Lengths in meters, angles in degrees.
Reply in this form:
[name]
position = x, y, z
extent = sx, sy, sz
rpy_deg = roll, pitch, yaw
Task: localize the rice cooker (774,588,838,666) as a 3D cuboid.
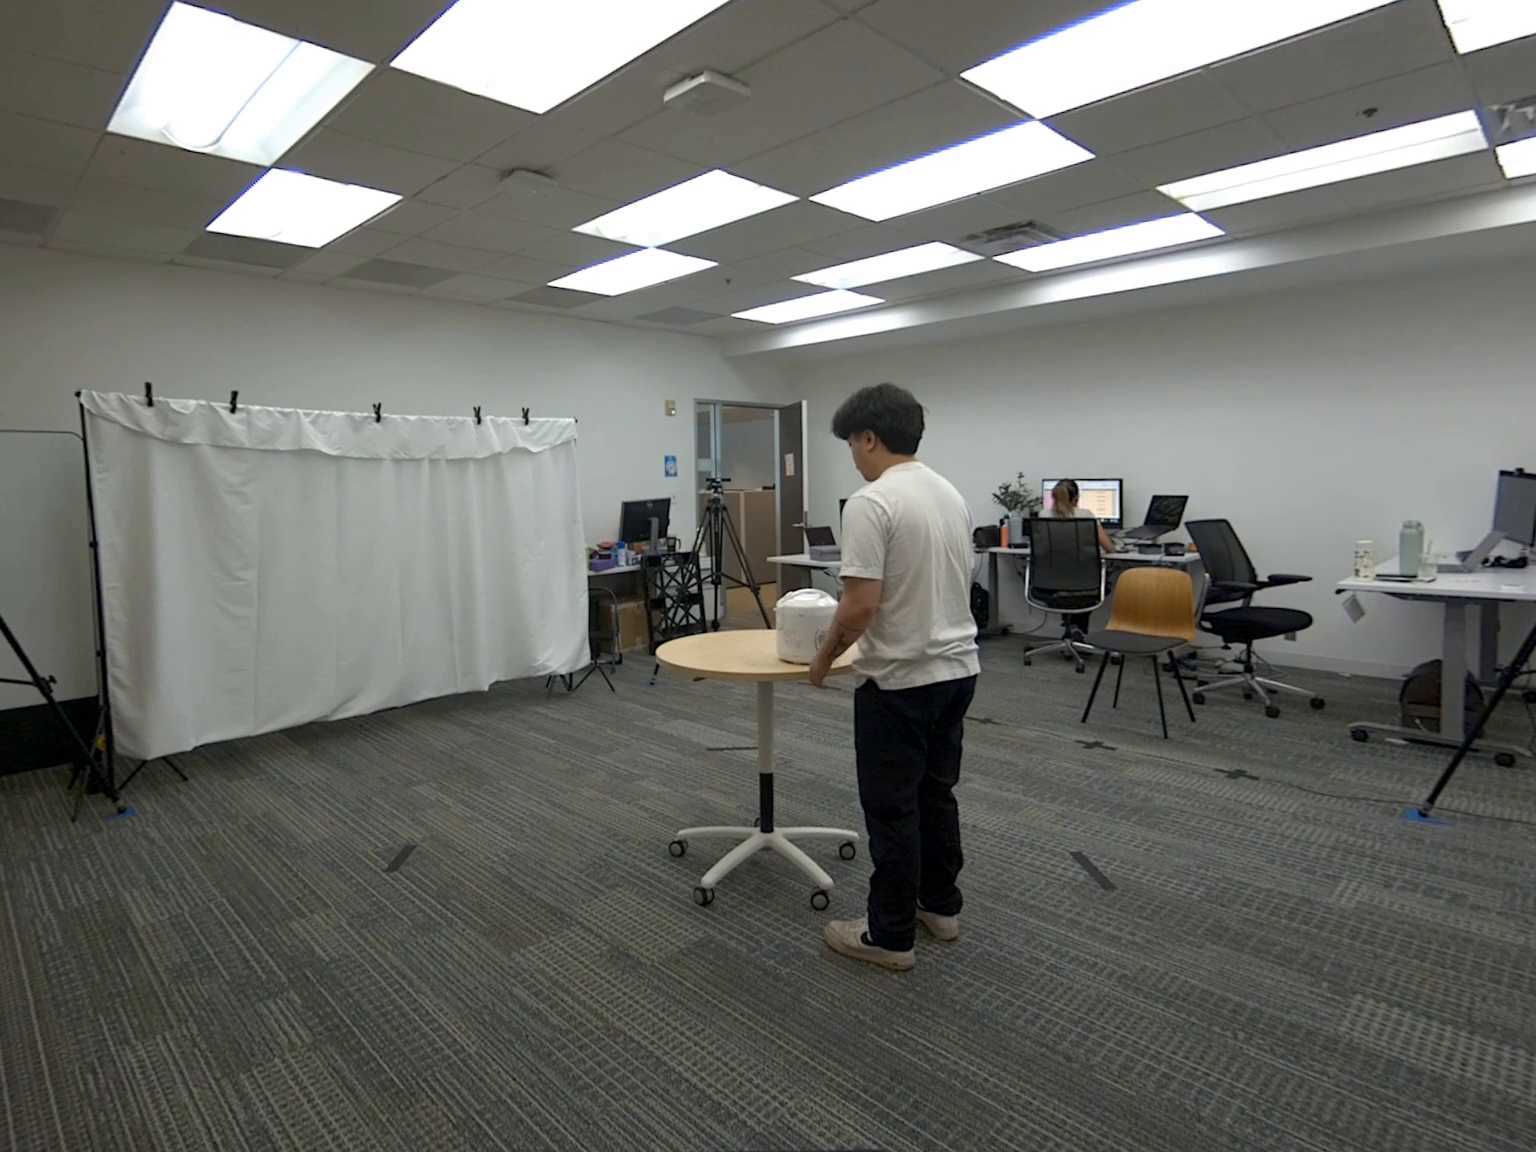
[rice cooker]
position = 0.138, 0.160, 2.802
extent = 0.216, 0.232, 0.223
rpy_deg = -4, 5, -24
